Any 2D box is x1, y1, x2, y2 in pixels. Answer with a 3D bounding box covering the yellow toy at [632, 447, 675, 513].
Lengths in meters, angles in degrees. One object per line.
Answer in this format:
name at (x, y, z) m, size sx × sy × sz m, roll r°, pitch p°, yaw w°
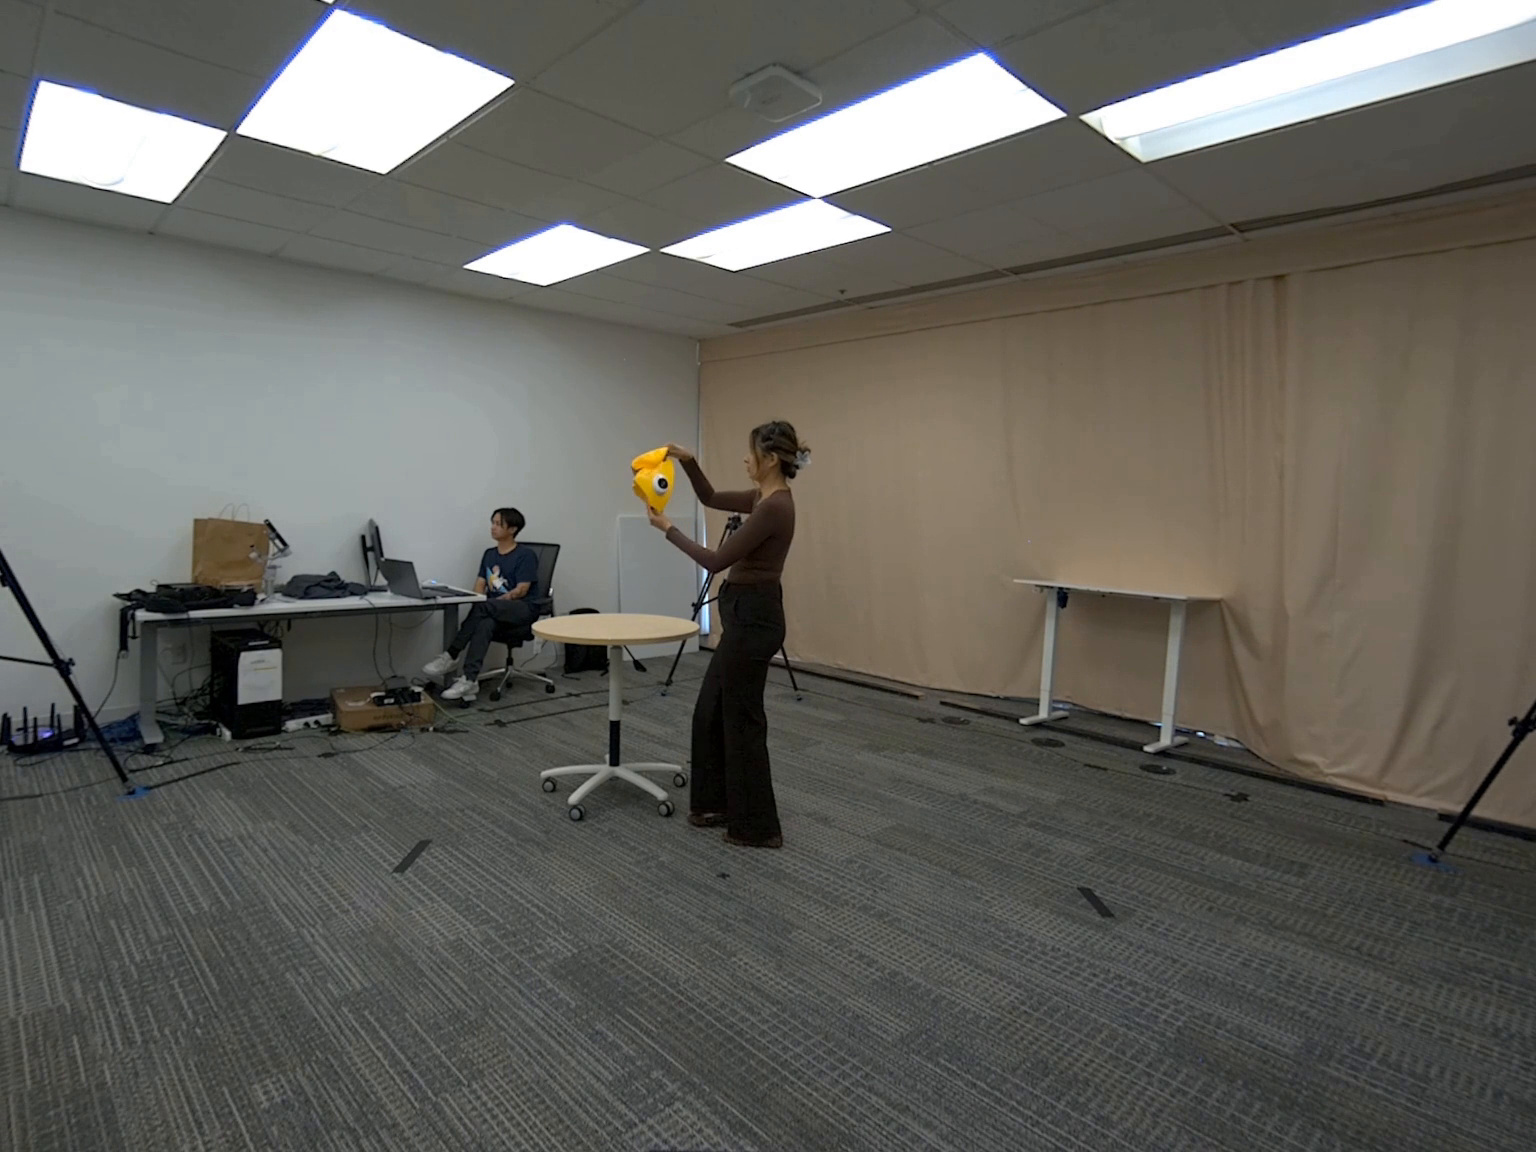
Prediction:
yellow toy at (-0.445, -0.359, 3.392) m, size 0.192 × 0.233 × 0.204 m, roll -23°, pitch -8°, yaw -10°
